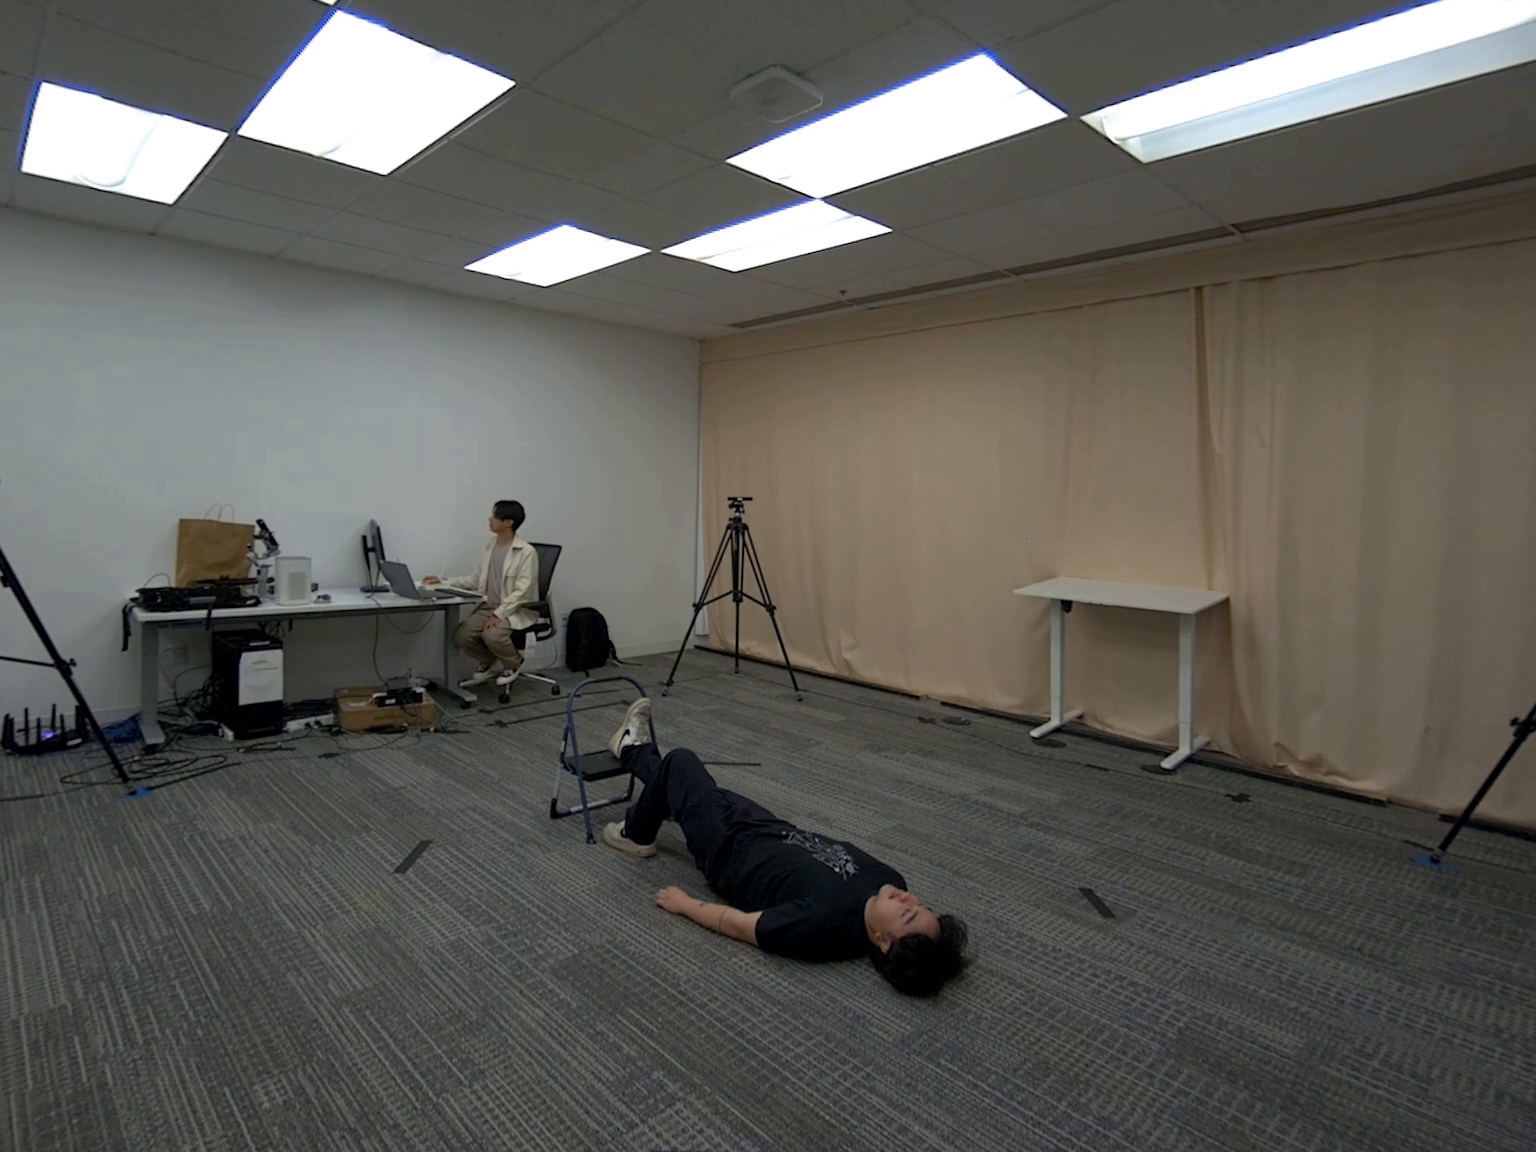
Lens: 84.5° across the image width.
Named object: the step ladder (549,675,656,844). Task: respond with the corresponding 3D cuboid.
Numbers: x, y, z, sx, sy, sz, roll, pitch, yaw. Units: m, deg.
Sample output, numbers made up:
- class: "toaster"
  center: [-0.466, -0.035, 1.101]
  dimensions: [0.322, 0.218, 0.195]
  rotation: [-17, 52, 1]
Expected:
- class: "step ladder"
  center: [-0.678, 0.752, 3.620]
  dimensions: [0.420, 0.605, 0.358]
  rotation: [-1, 4, -43]
